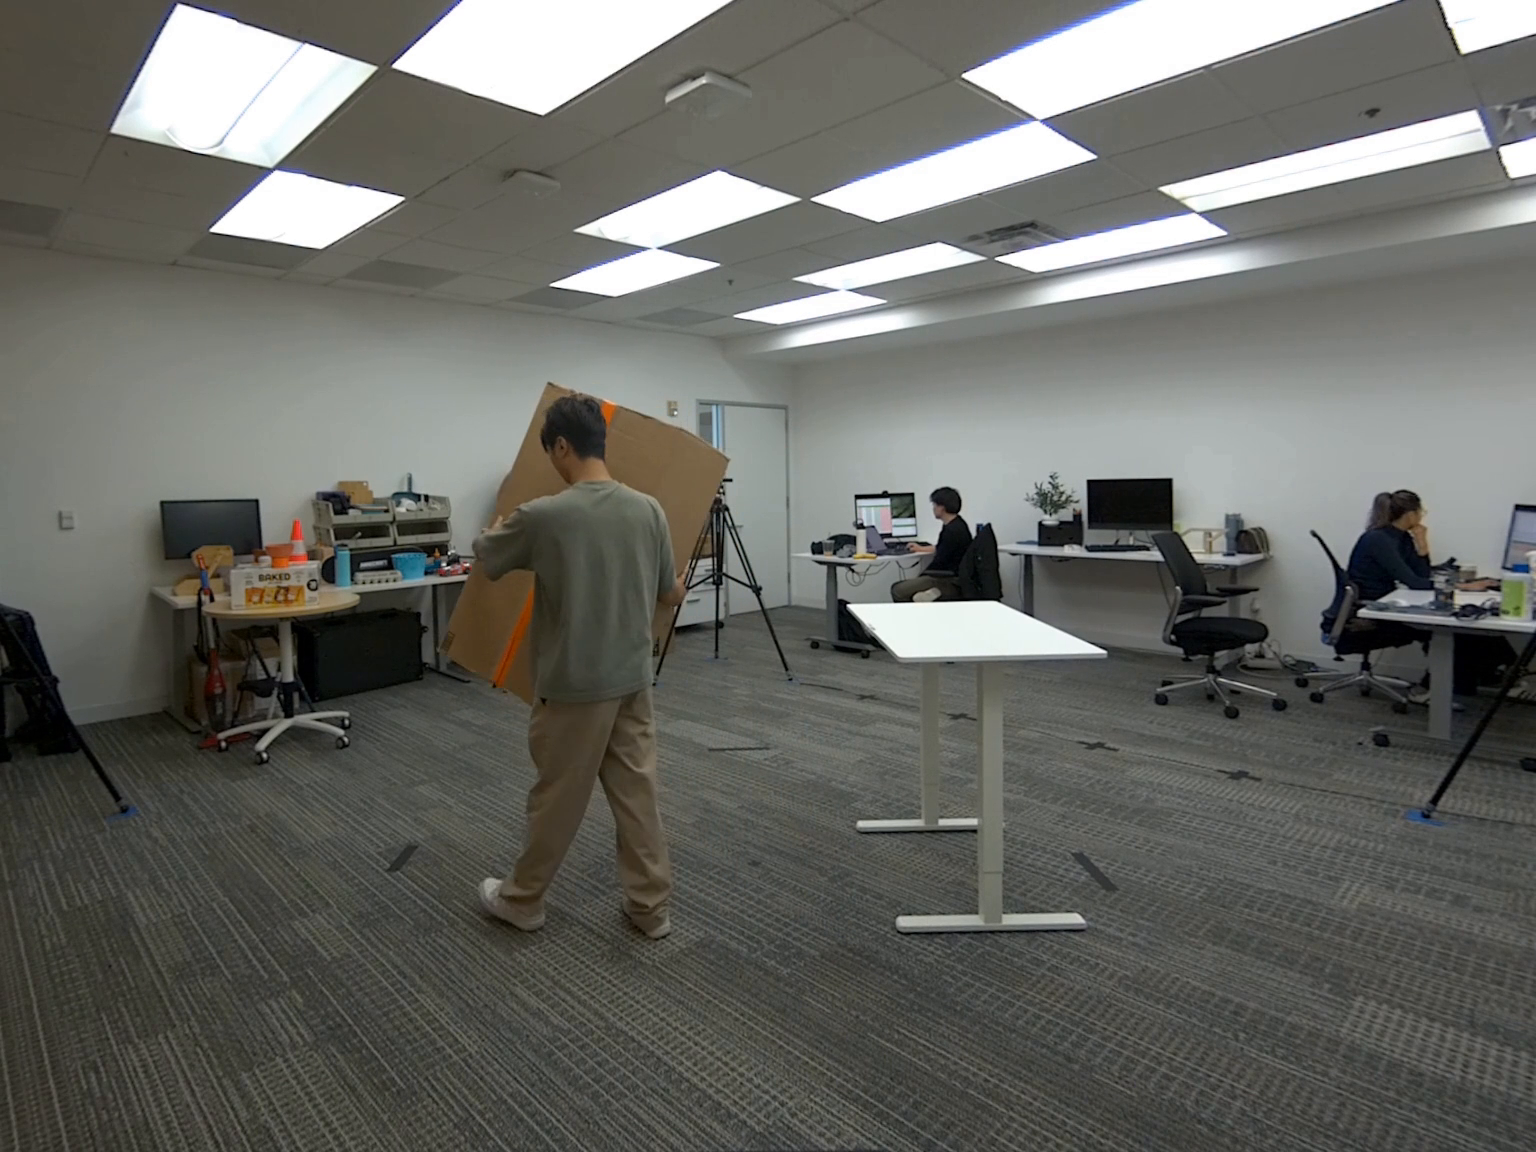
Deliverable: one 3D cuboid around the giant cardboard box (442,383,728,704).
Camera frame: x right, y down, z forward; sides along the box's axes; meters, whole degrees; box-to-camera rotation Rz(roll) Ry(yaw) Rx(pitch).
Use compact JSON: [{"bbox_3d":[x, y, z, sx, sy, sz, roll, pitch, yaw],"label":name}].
[{"bbox_3d":[-0.641,-0.084,3.042,0.594,1.025,0.415,23,1,23],"label":"giant cardboard box"}]
